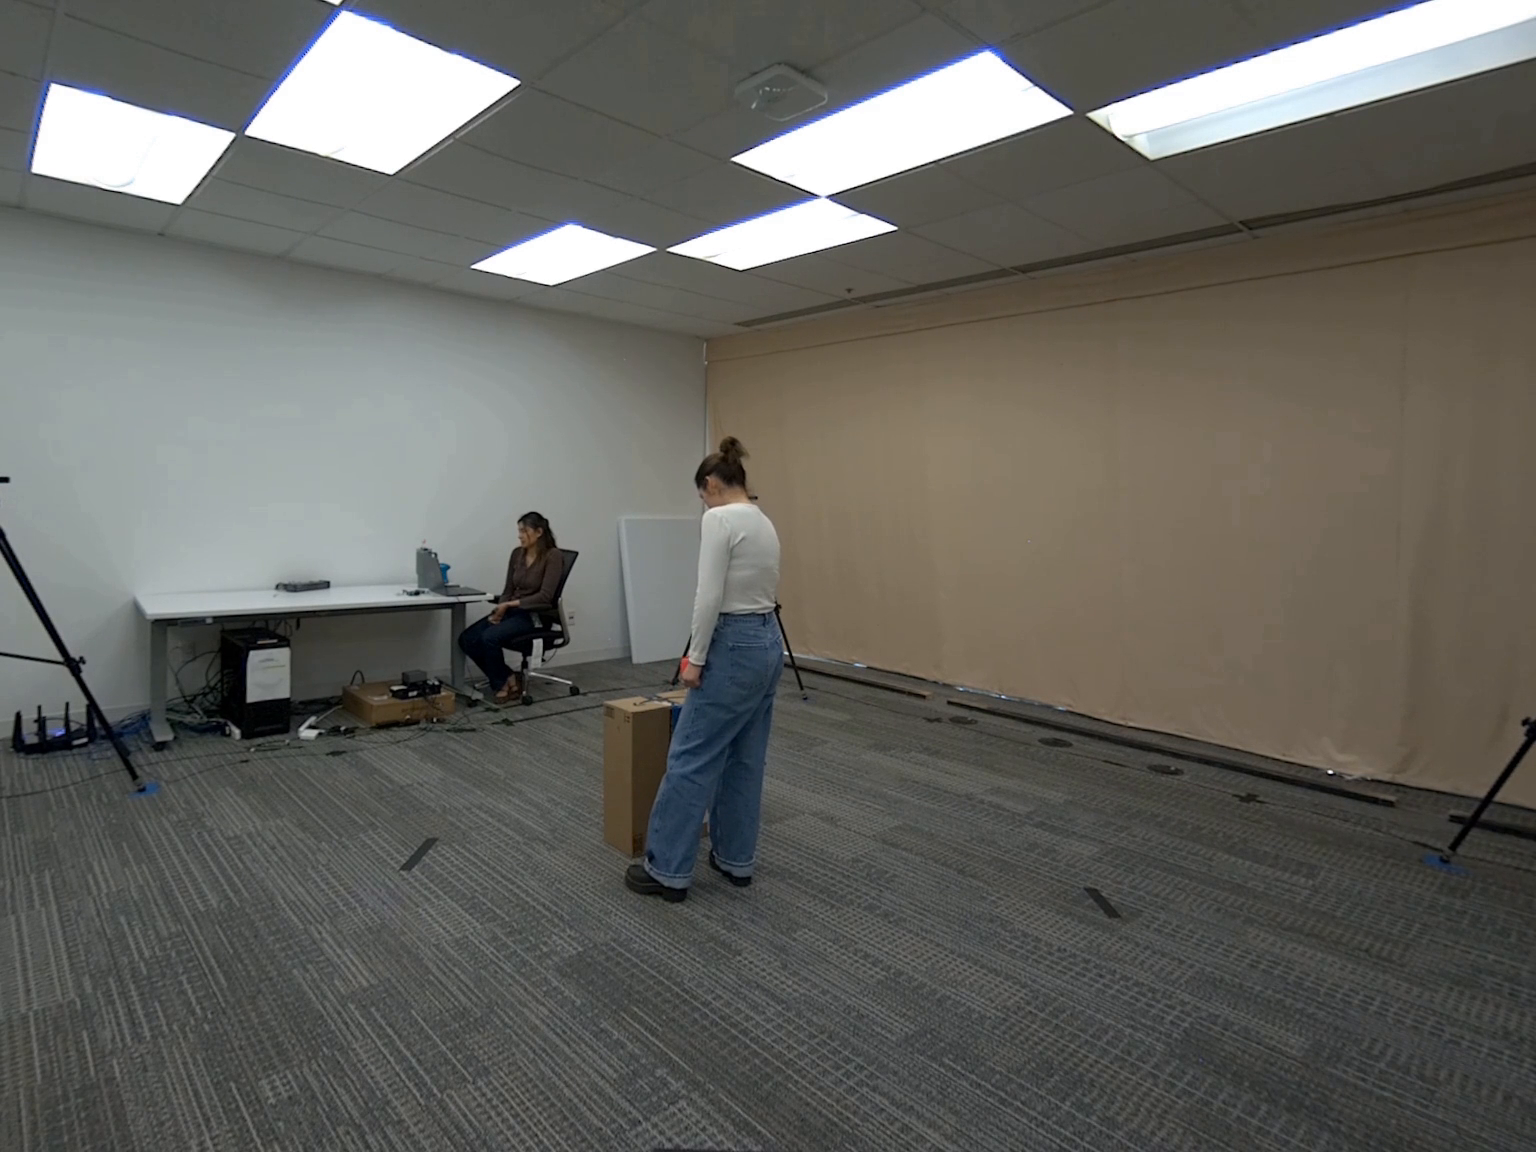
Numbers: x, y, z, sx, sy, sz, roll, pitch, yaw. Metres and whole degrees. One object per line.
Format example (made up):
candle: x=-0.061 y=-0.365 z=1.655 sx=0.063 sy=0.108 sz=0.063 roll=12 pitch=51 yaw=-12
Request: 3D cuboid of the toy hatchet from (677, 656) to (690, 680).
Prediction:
toy hatchet: x=-0.278 y=0.360 z=3.501 sx=0.029 sy=0.133 sz=0.271 roll=-4 pitch=-29 yaw=-47
